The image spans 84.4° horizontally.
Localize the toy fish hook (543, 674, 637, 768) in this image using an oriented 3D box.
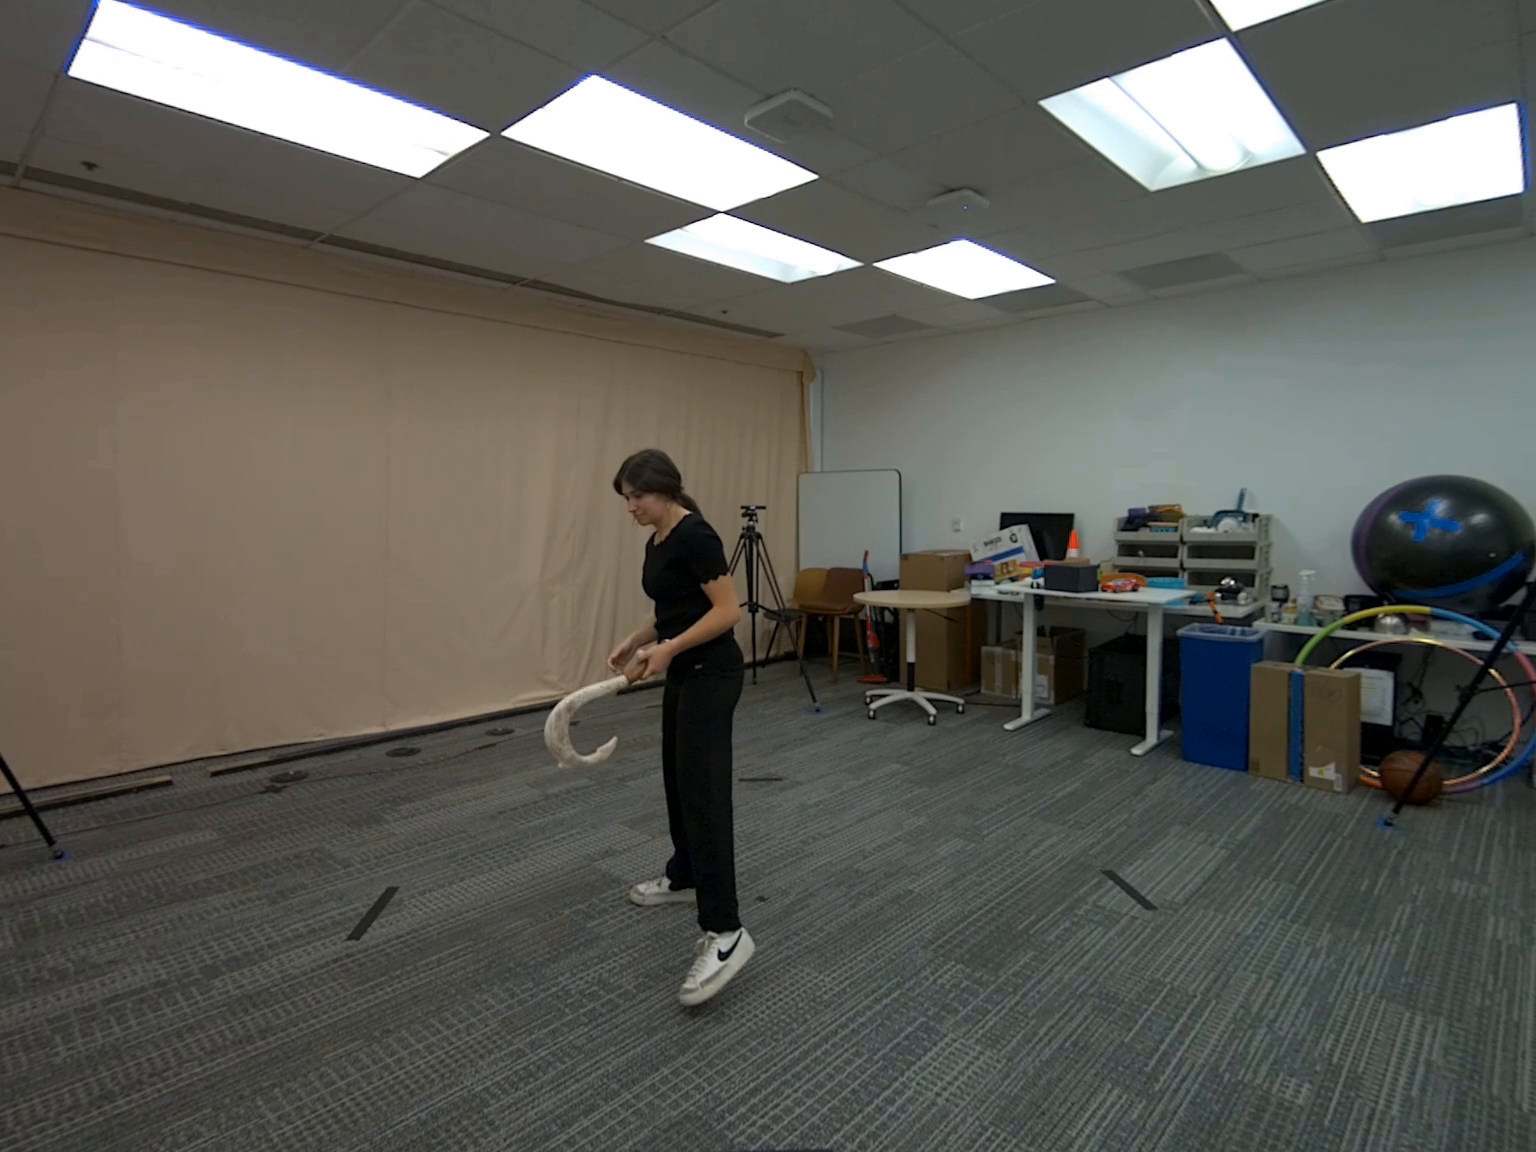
[{"bbox_3d":[-0.449,0.382,2.486,0.499,0.221,0.050,-34,23,-34],"label":"toy fish hook"}]
